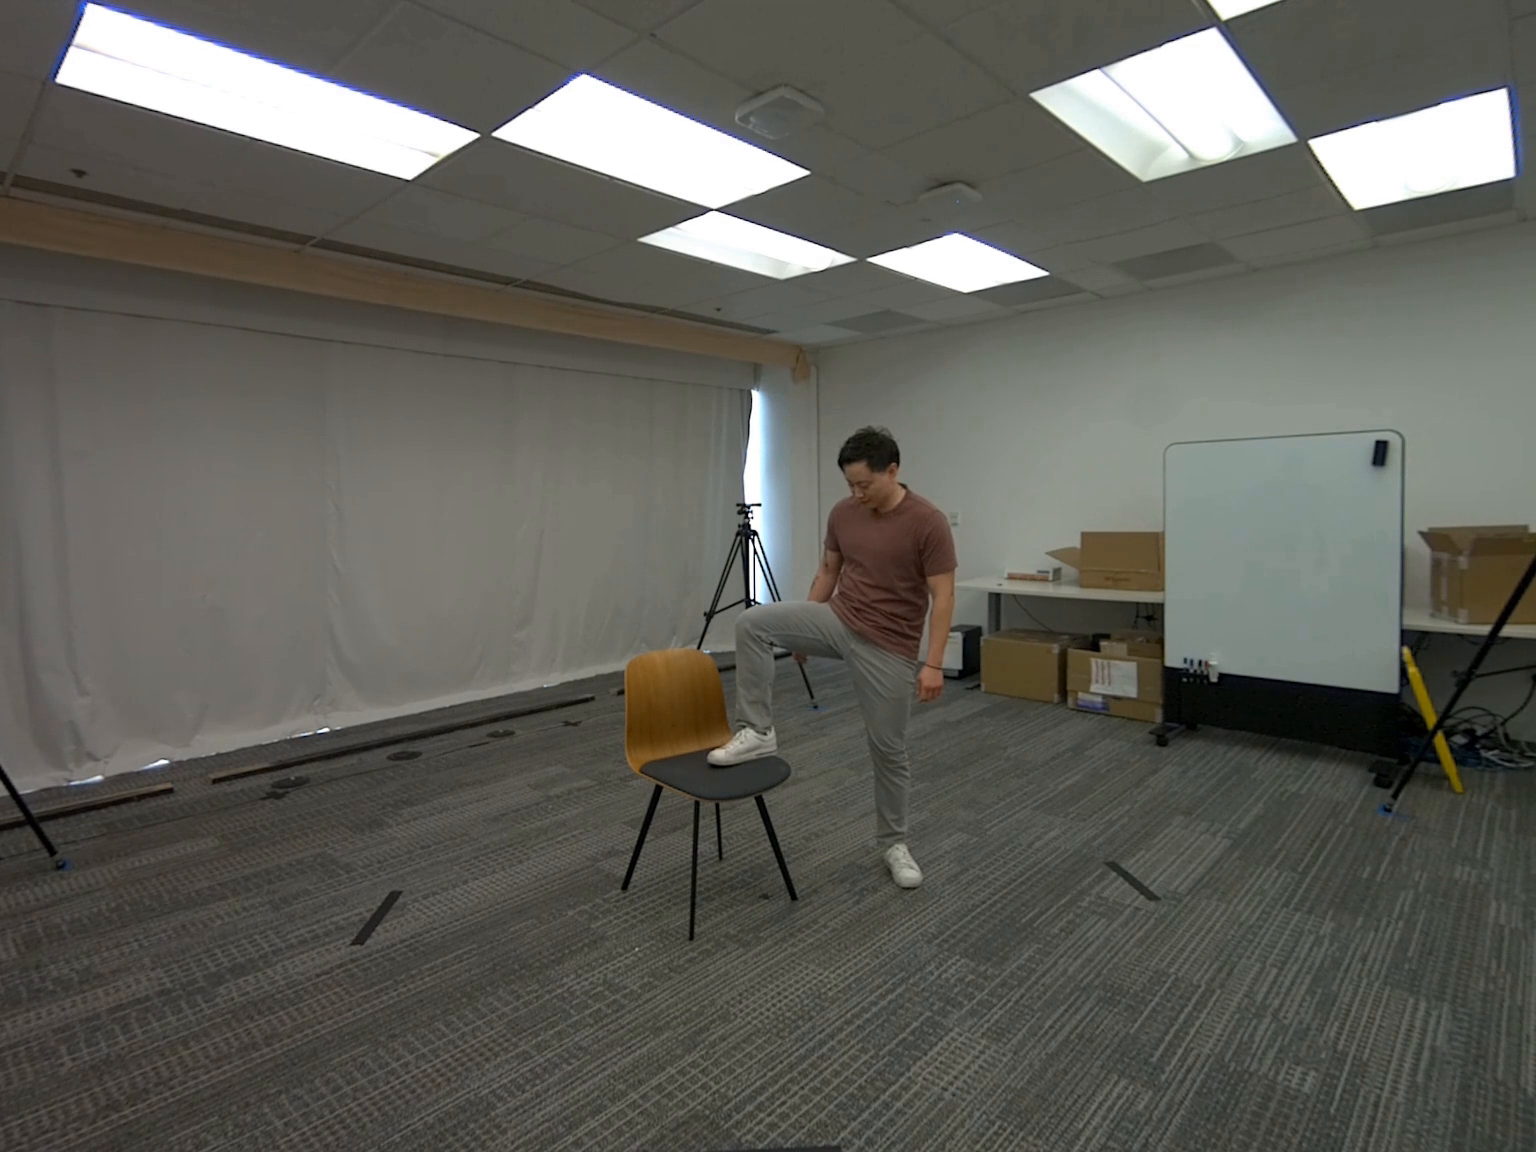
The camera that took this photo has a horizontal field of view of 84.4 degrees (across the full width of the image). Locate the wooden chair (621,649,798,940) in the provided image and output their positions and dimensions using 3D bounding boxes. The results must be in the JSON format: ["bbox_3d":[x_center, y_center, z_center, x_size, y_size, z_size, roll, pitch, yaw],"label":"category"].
[{"bbox_3d":[-0.213,0.718,2.963,0.464,0.877,0.539,-3,0,-38],"label":"wooden chair"}]
